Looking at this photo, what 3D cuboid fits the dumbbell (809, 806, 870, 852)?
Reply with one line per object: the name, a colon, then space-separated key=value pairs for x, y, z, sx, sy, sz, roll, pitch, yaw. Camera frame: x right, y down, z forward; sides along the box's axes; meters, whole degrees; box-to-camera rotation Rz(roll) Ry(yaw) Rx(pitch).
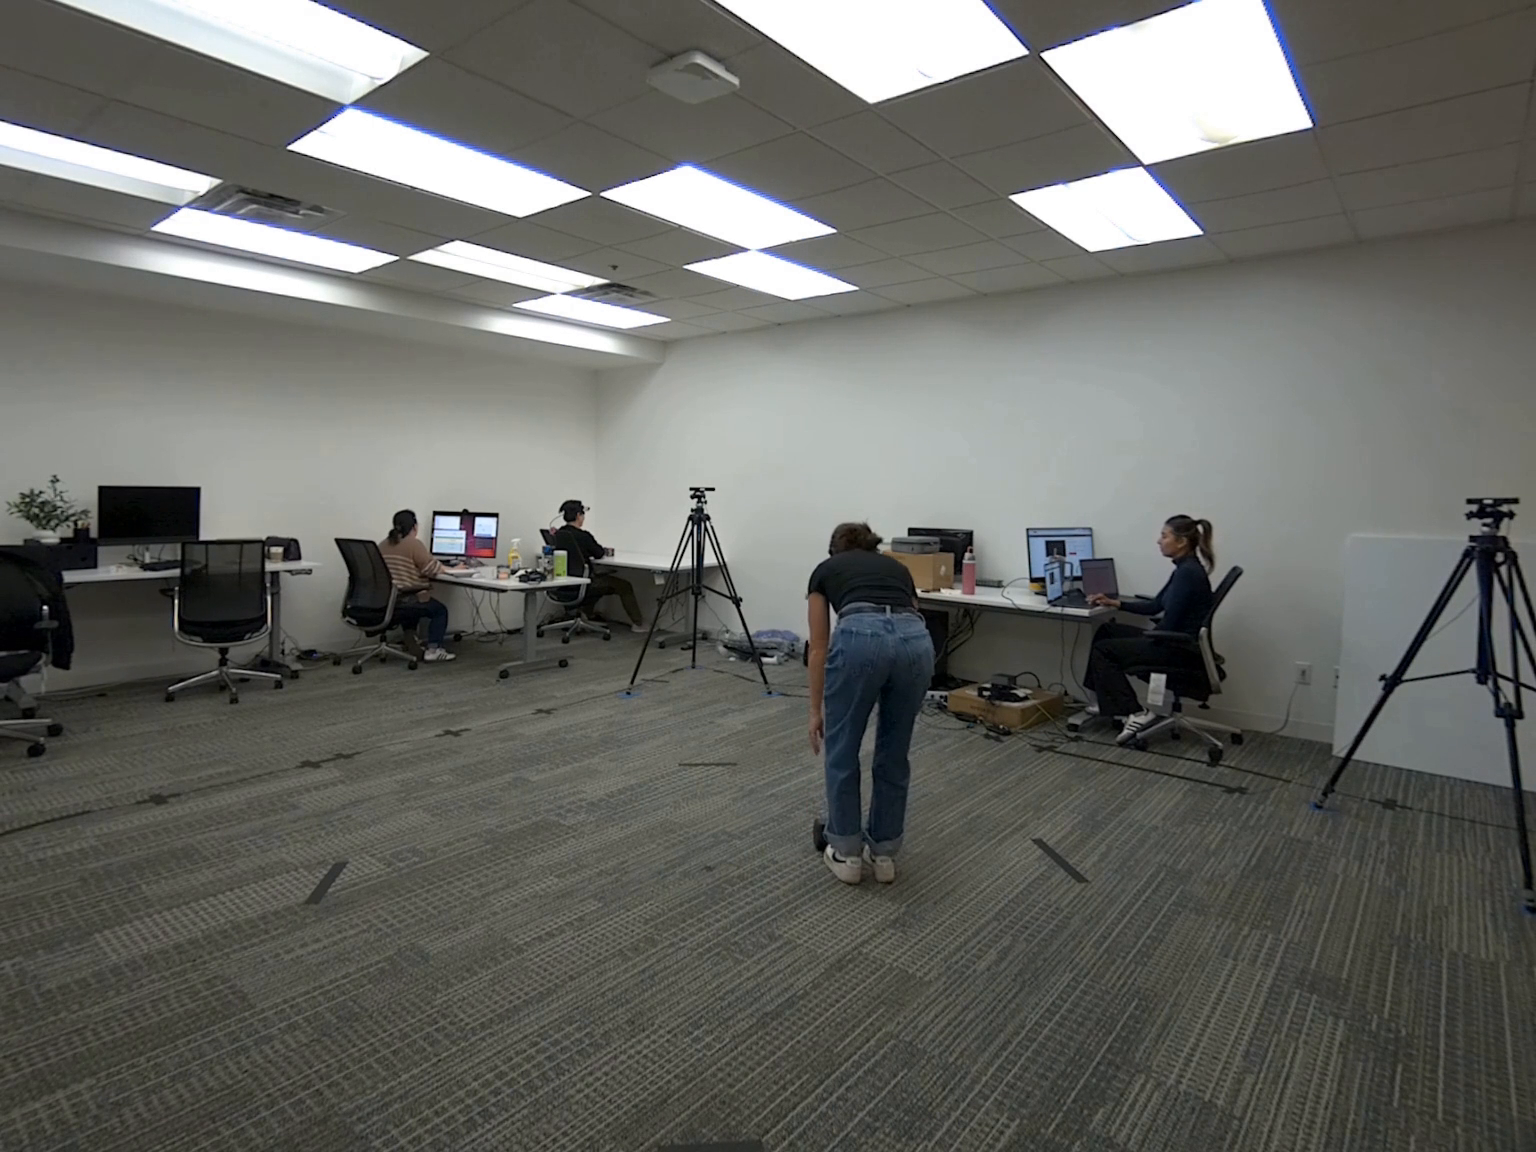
dumbbell: x=0.323 y=0.996 z=3.316 sx=0.292 sy=0.120 sz=0.112 roll=1 pitch=33 yaw=-6
